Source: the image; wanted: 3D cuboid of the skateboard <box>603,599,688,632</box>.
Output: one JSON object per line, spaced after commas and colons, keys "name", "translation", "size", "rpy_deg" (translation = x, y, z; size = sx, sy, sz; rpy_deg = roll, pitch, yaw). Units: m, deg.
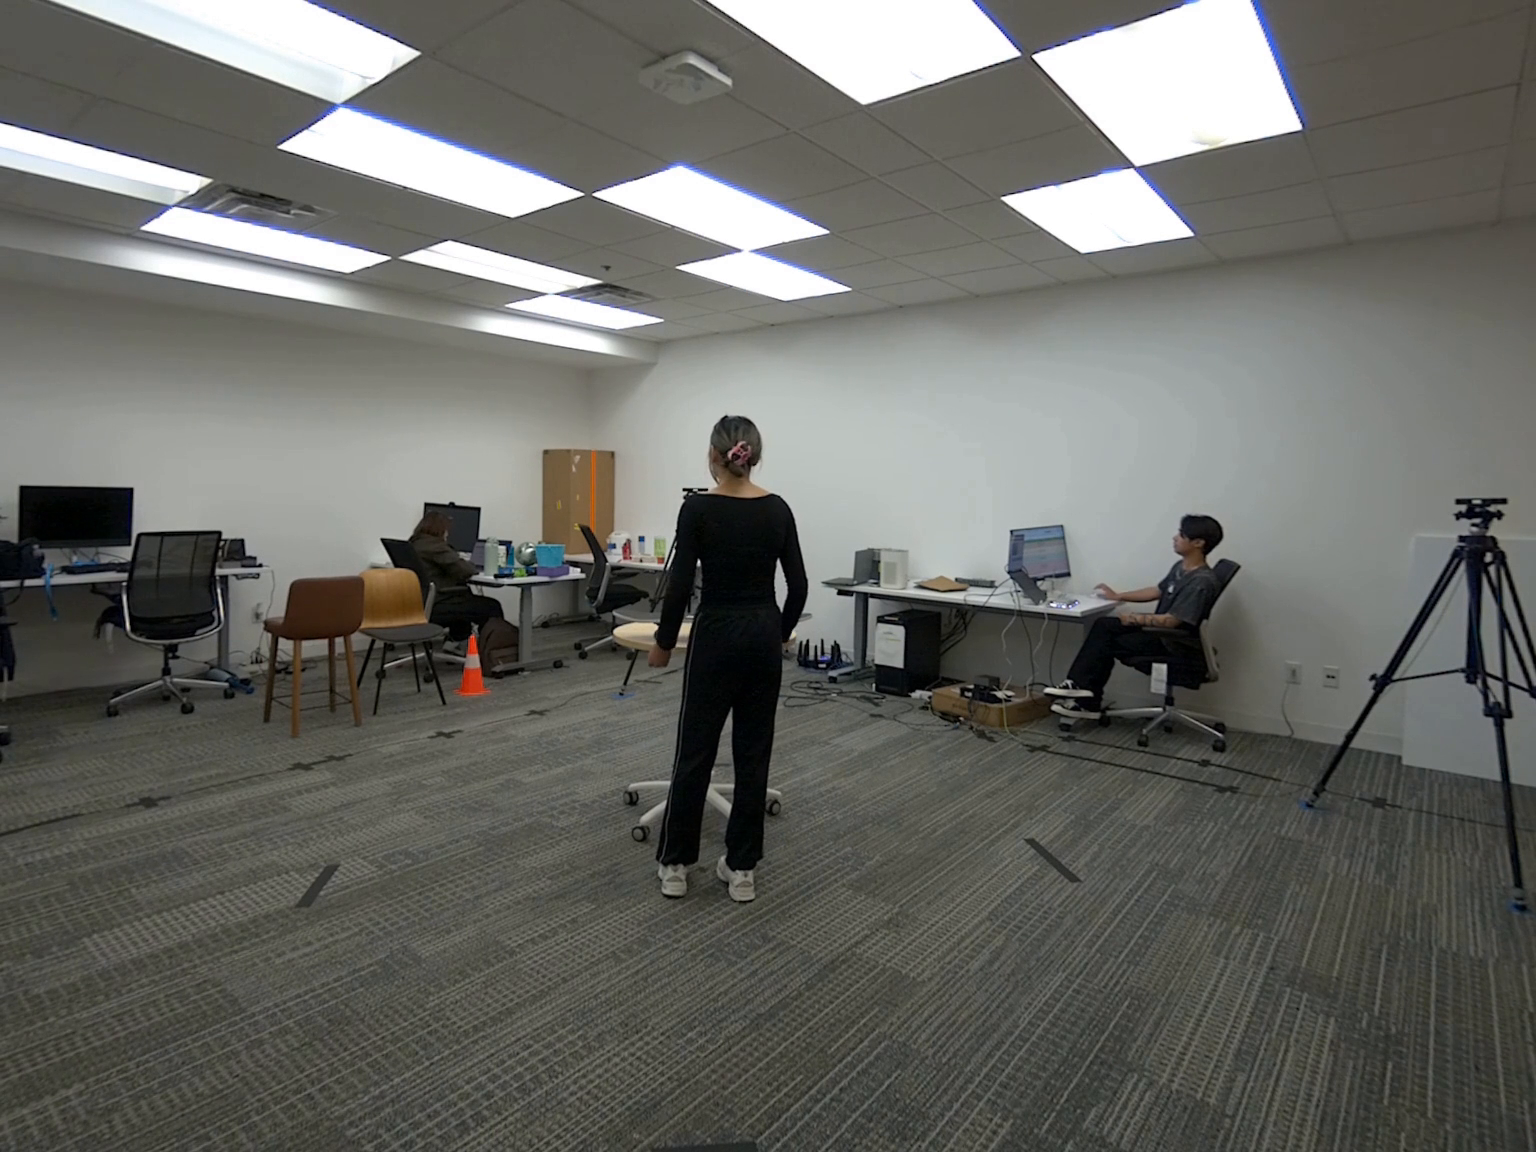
{"name": "skateboard", "translation": [-0.220, 0.199, 3.362], "size": [0.787, 0.110, 0.194], "rpy_deg": [2, 5, 2]}
